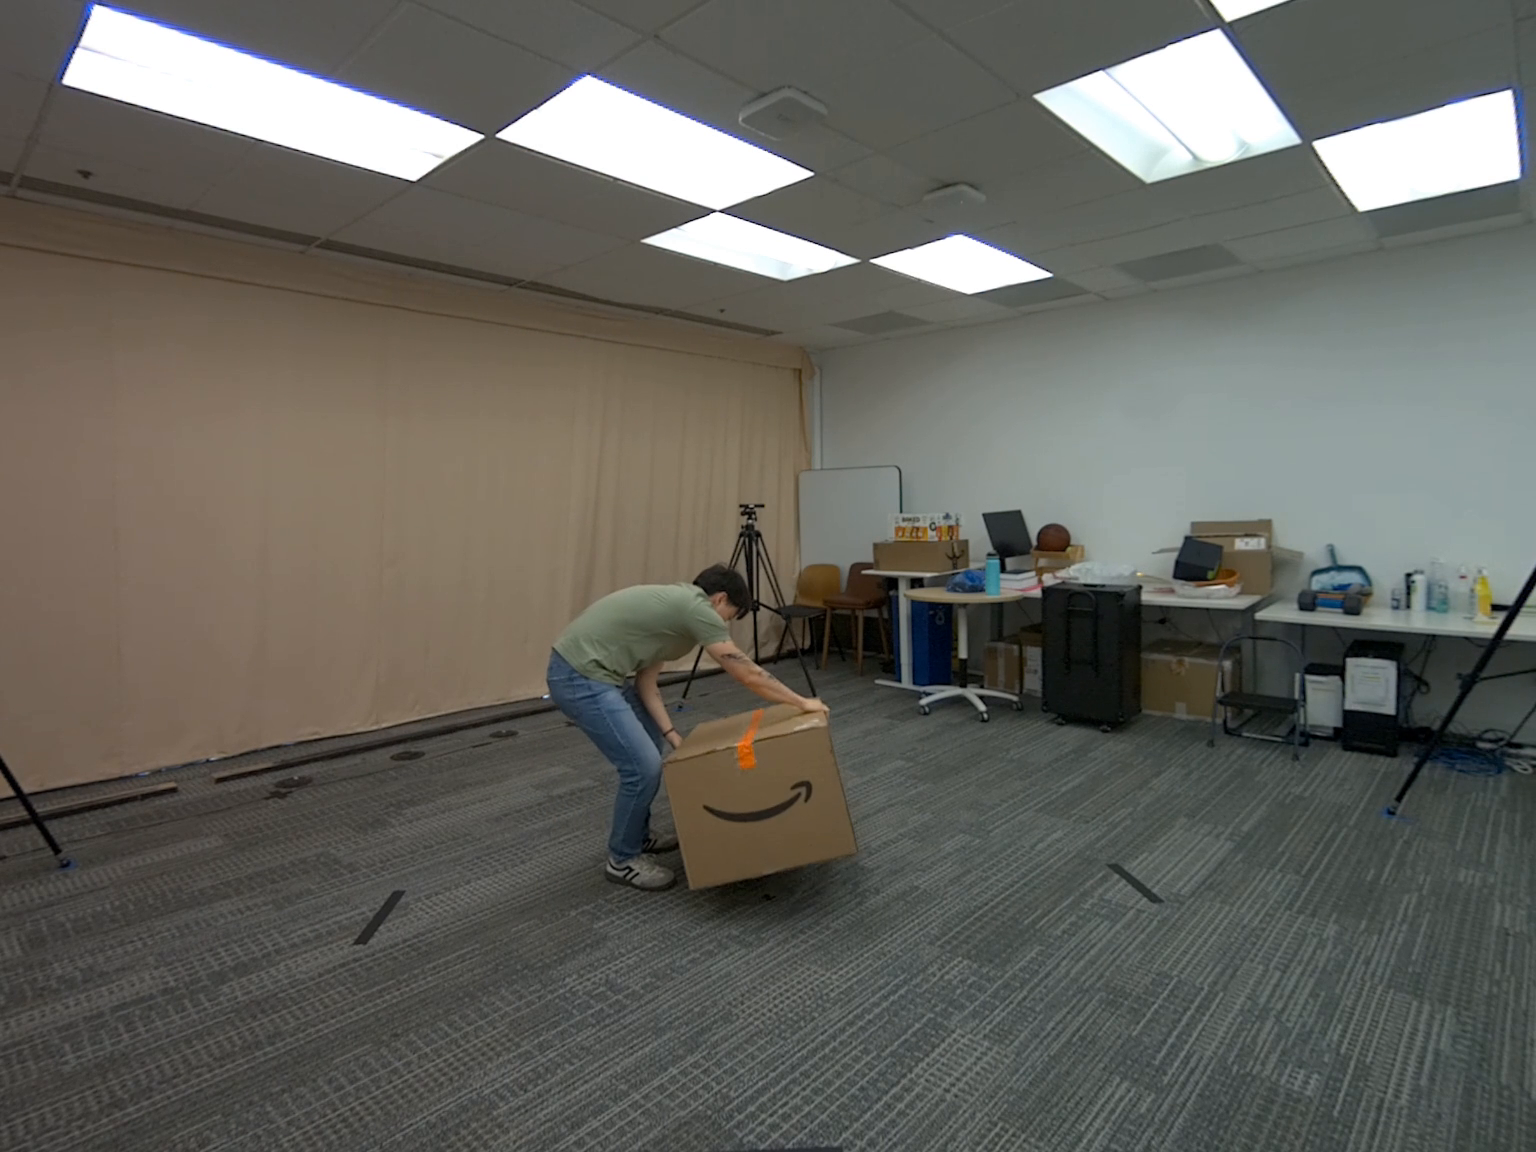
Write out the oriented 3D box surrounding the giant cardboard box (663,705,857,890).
[{"bbox_3d":[-0.012,0.772,3.281,0.579,0.427,1.020,-13,-2,2],"label":"giant cardboard box"}]
